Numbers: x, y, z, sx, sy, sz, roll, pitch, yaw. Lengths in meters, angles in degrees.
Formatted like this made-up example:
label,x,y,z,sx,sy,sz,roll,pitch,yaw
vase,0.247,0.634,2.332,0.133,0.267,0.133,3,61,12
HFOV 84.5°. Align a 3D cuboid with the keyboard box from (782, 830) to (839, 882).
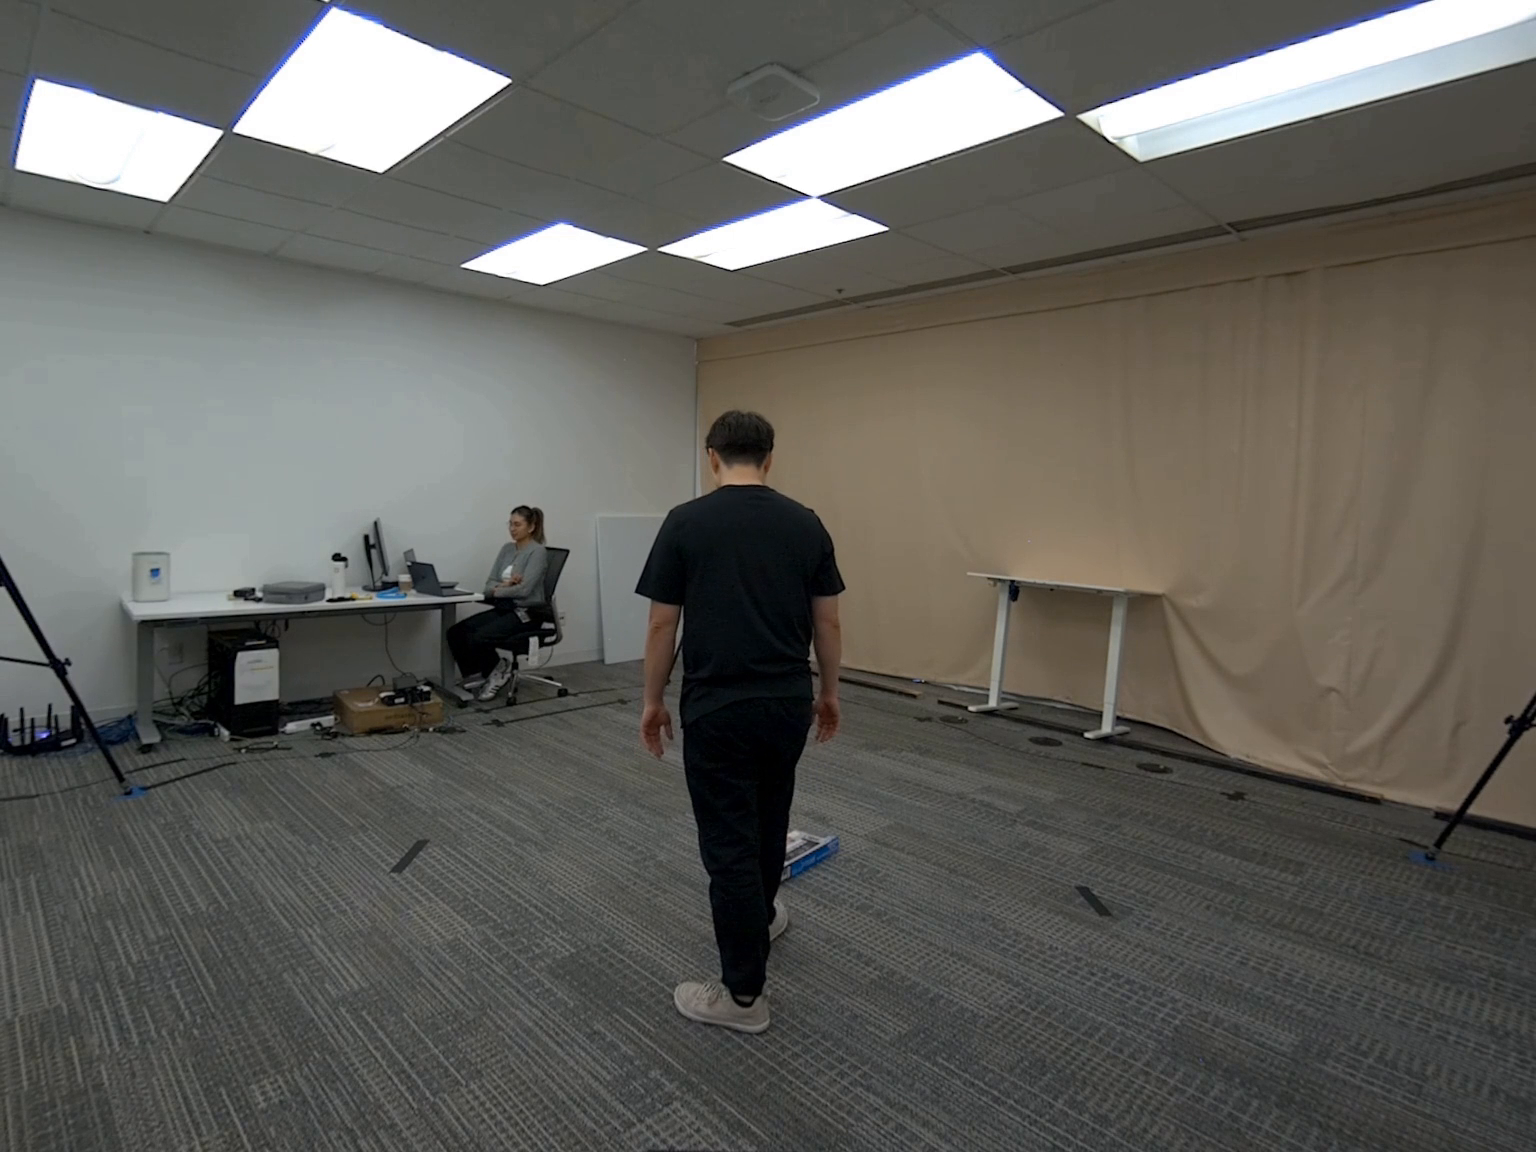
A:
label,x,y,z,sx,sy,sz,roll,pitch,yaw
keyboard box,0.076,1.069,3.225,0.180,0.059,0.427,4,6,38
